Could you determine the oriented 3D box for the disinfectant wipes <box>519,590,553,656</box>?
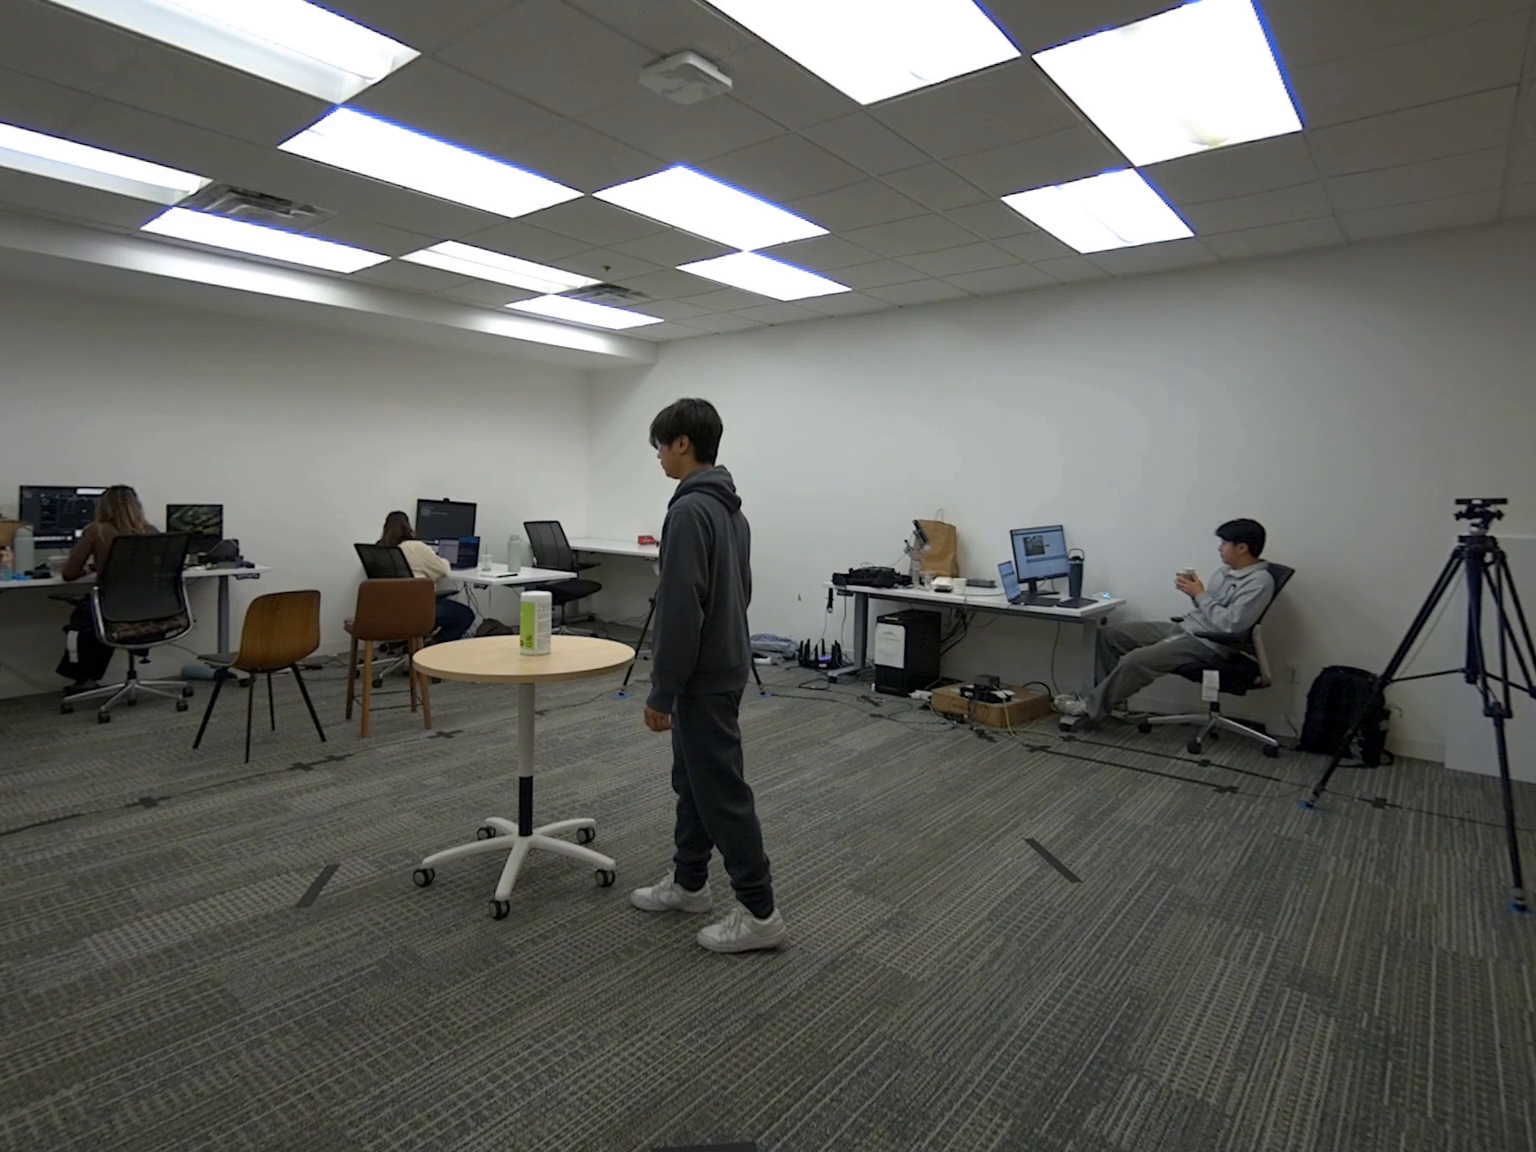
[{"bbox_3d":[-0.838,0.165,3.022,0.118,0.217,0.118,1,2,-2],"label":"disinfectant wipes"}]
